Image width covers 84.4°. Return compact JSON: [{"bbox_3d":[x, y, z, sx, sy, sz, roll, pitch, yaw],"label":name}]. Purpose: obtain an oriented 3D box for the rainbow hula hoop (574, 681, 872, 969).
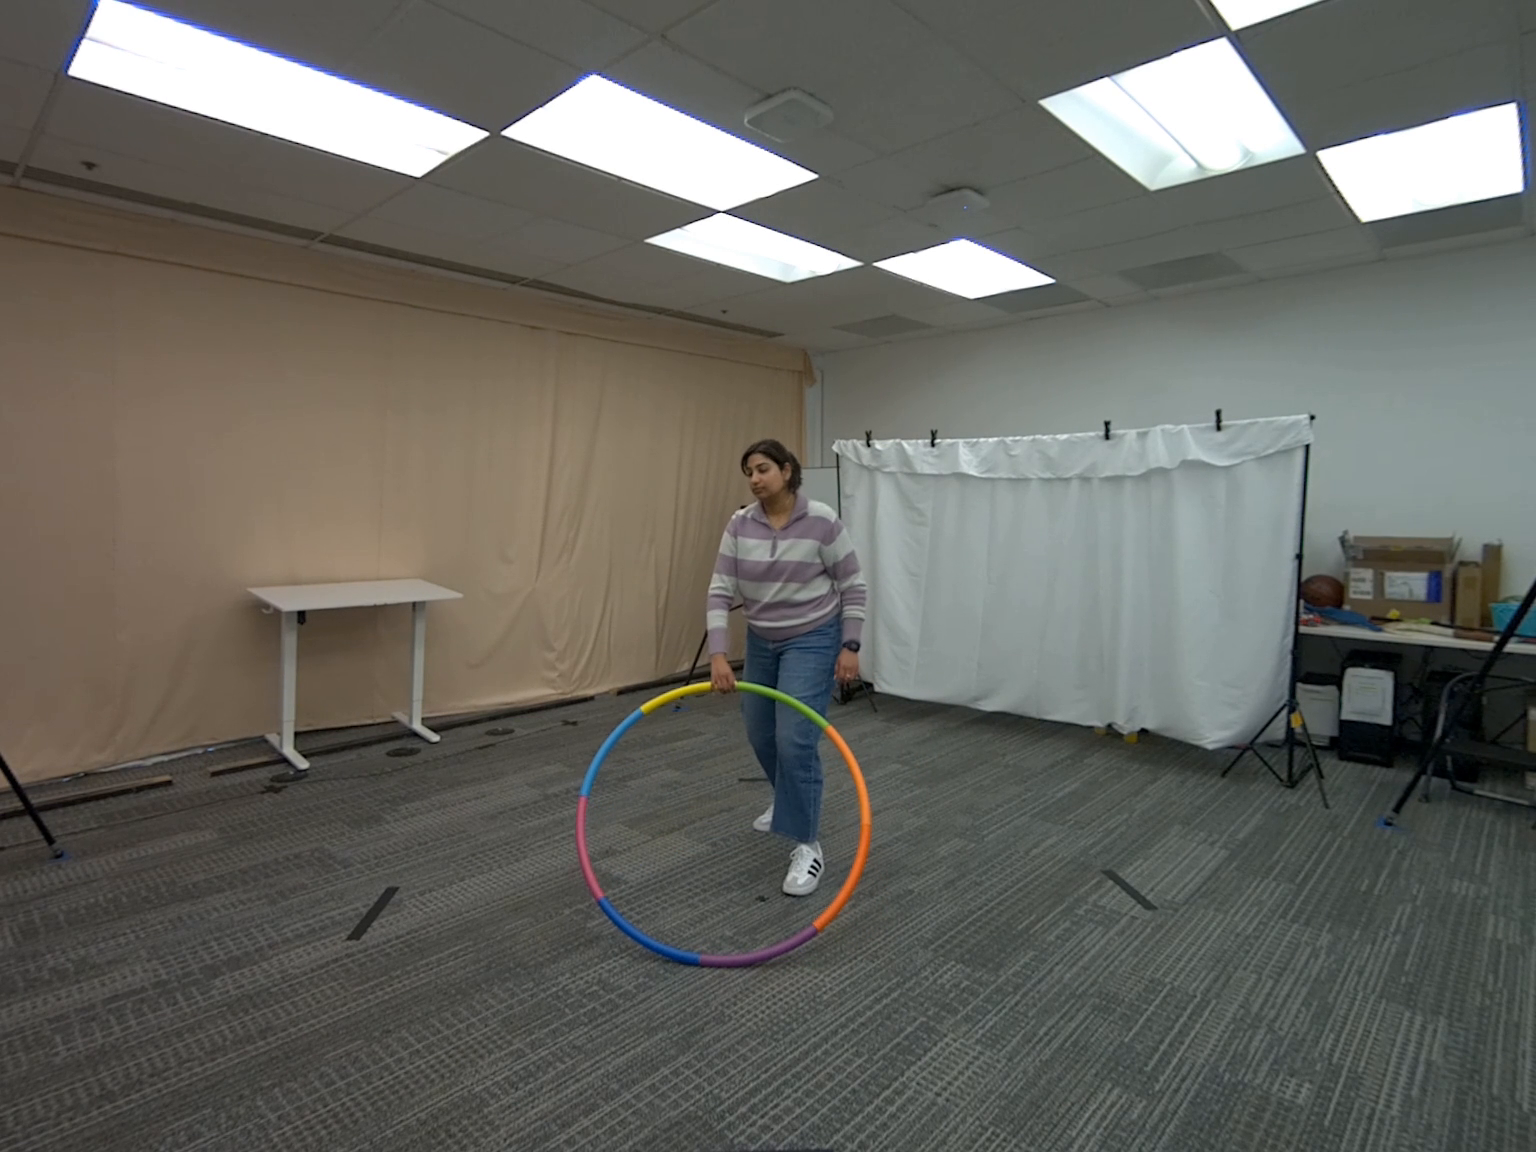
[{"bbox_3d":[-0.150,0.789,2.834,0.985,0.994,0.035,-1,-39,5],"label":"rainbow hula hoop"}]
